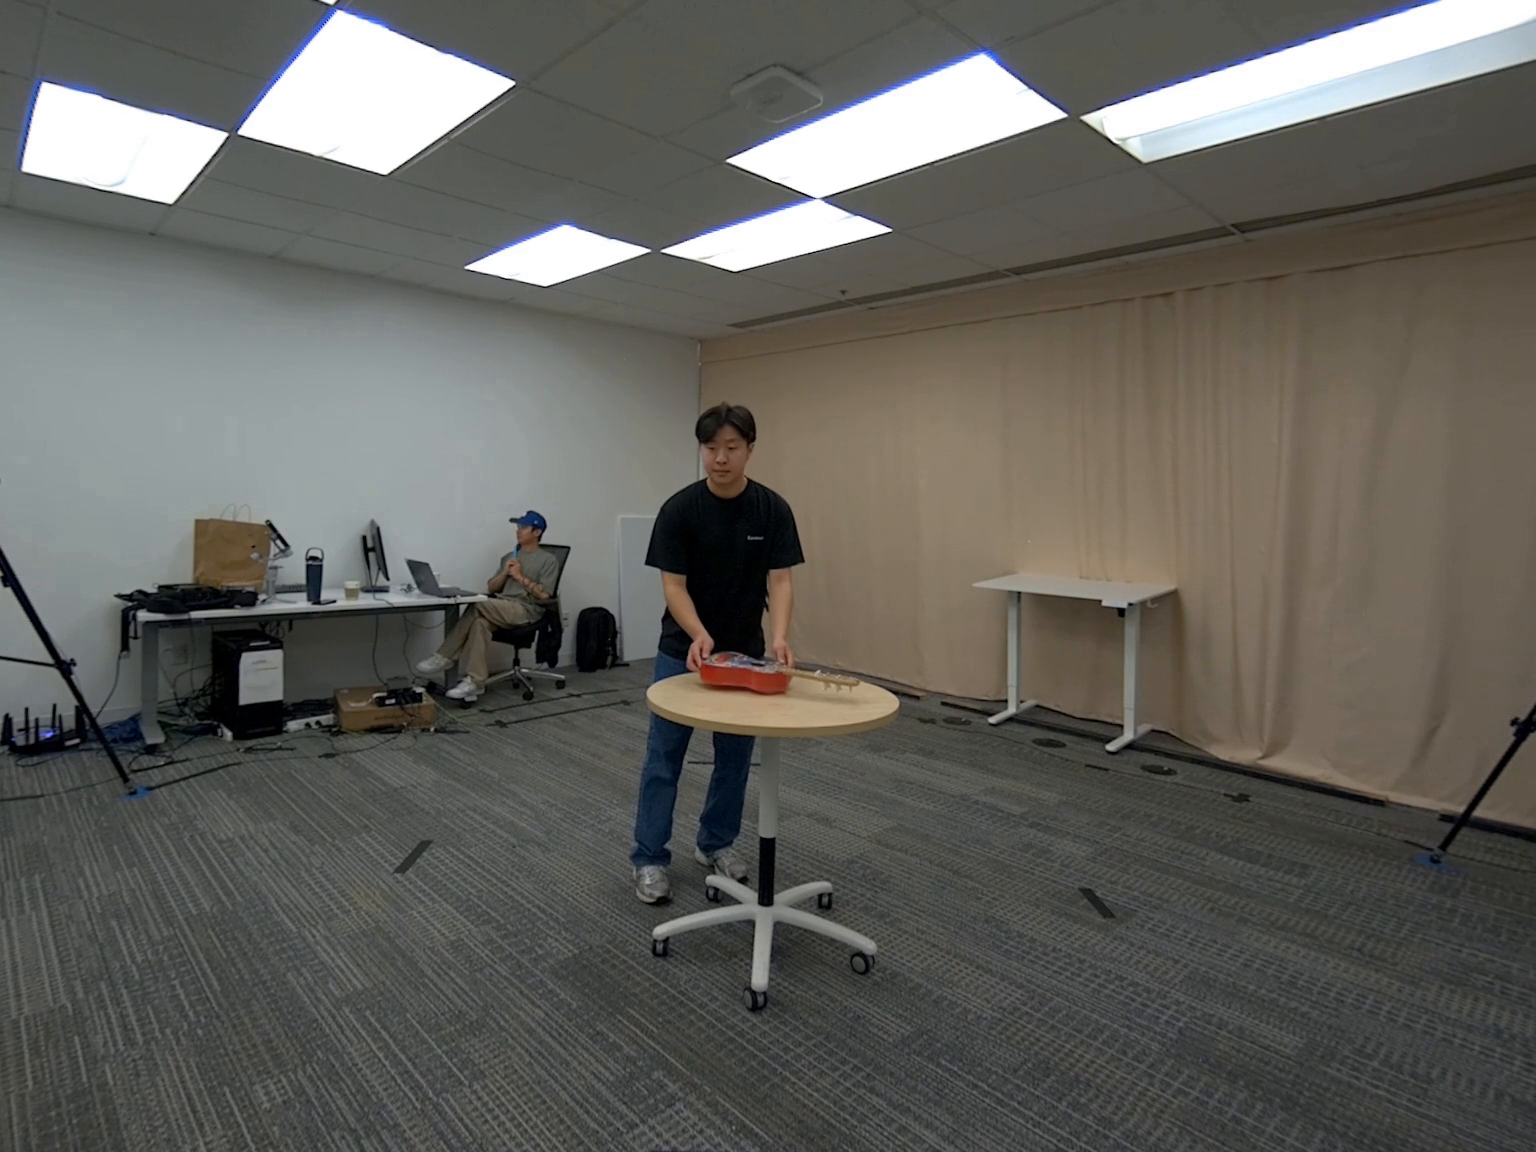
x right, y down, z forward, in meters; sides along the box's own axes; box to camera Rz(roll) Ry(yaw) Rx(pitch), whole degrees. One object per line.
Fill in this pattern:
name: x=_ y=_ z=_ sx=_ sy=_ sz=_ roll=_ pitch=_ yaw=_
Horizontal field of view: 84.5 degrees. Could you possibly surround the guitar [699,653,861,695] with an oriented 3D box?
guitar: x=0.017 y=0.314 z=2.560 sx=0.510 sy=0.070 sz=0.189 roll=8 pitch=9 yaw=33
